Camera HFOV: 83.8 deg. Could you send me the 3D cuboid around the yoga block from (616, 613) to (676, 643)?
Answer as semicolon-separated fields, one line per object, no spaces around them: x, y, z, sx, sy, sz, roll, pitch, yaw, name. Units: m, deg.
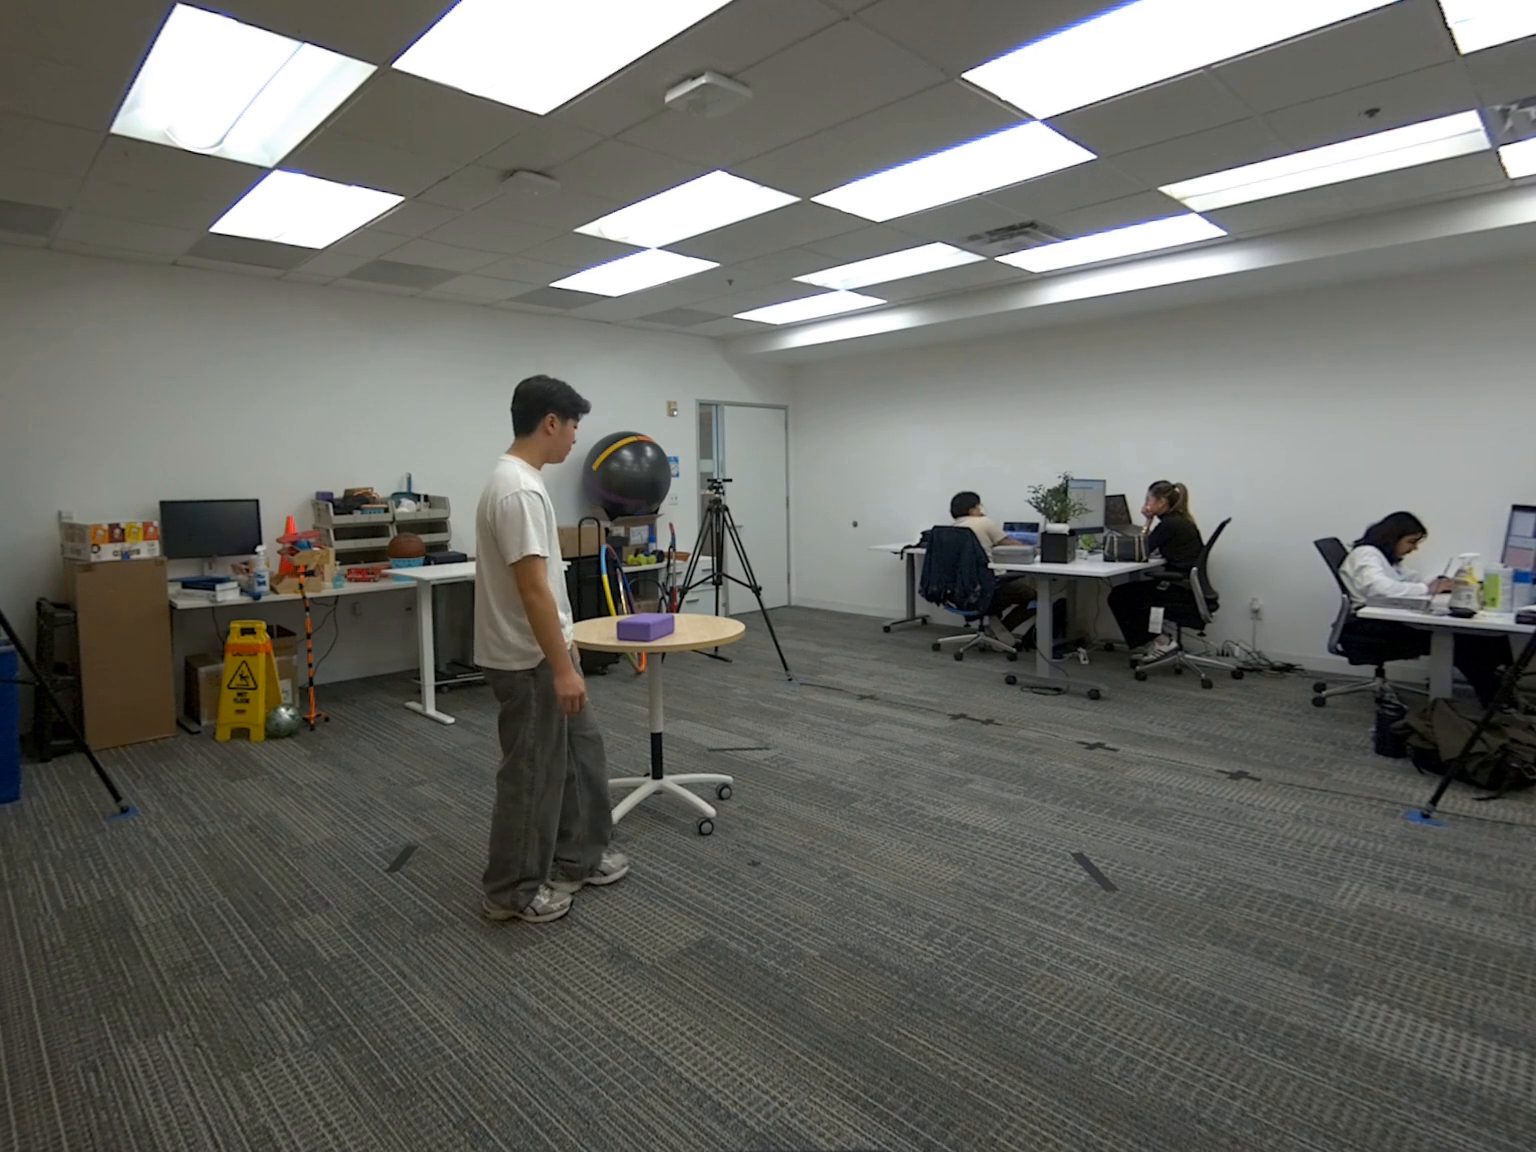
-0.484;0.200;3.394;0.152;0.076;0.226;2;6;20;yoga block
